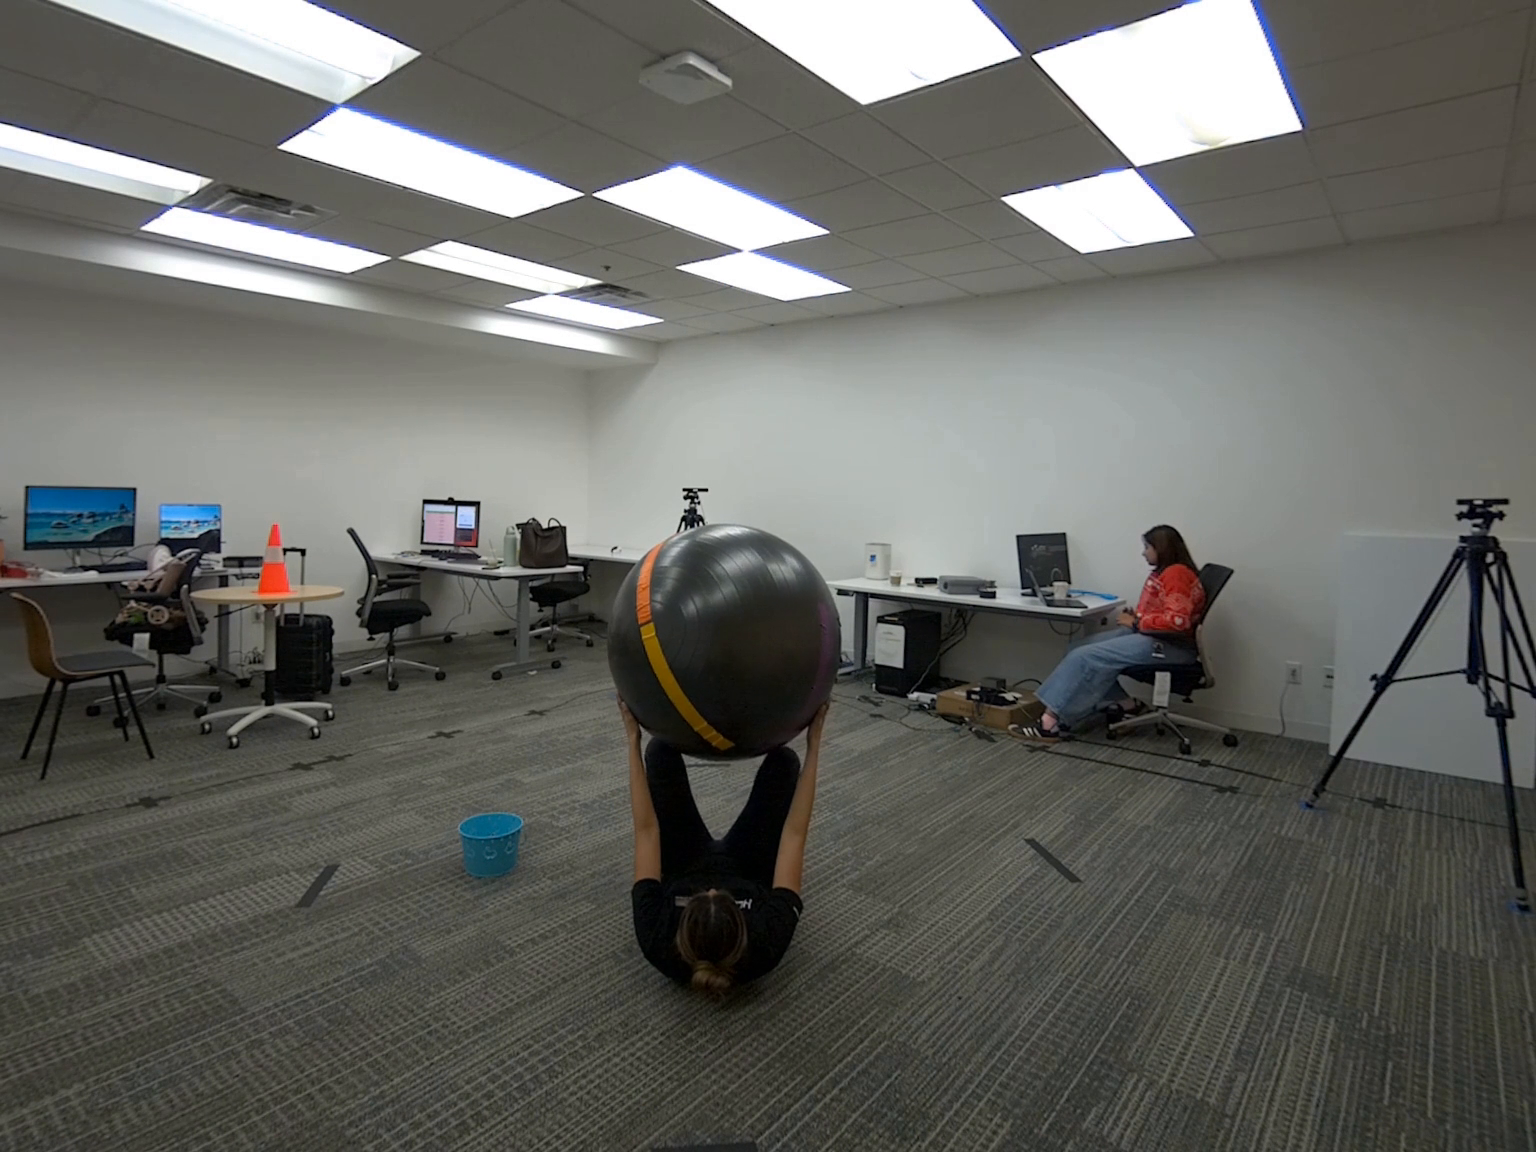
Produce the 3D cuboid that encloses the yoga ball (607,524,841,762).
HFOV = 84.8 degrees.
[{"bbox_3d":[-0.143,0.208,2.744,0.757,0.756,0.762,1,4,-2],"label":"yoga ball"}]
